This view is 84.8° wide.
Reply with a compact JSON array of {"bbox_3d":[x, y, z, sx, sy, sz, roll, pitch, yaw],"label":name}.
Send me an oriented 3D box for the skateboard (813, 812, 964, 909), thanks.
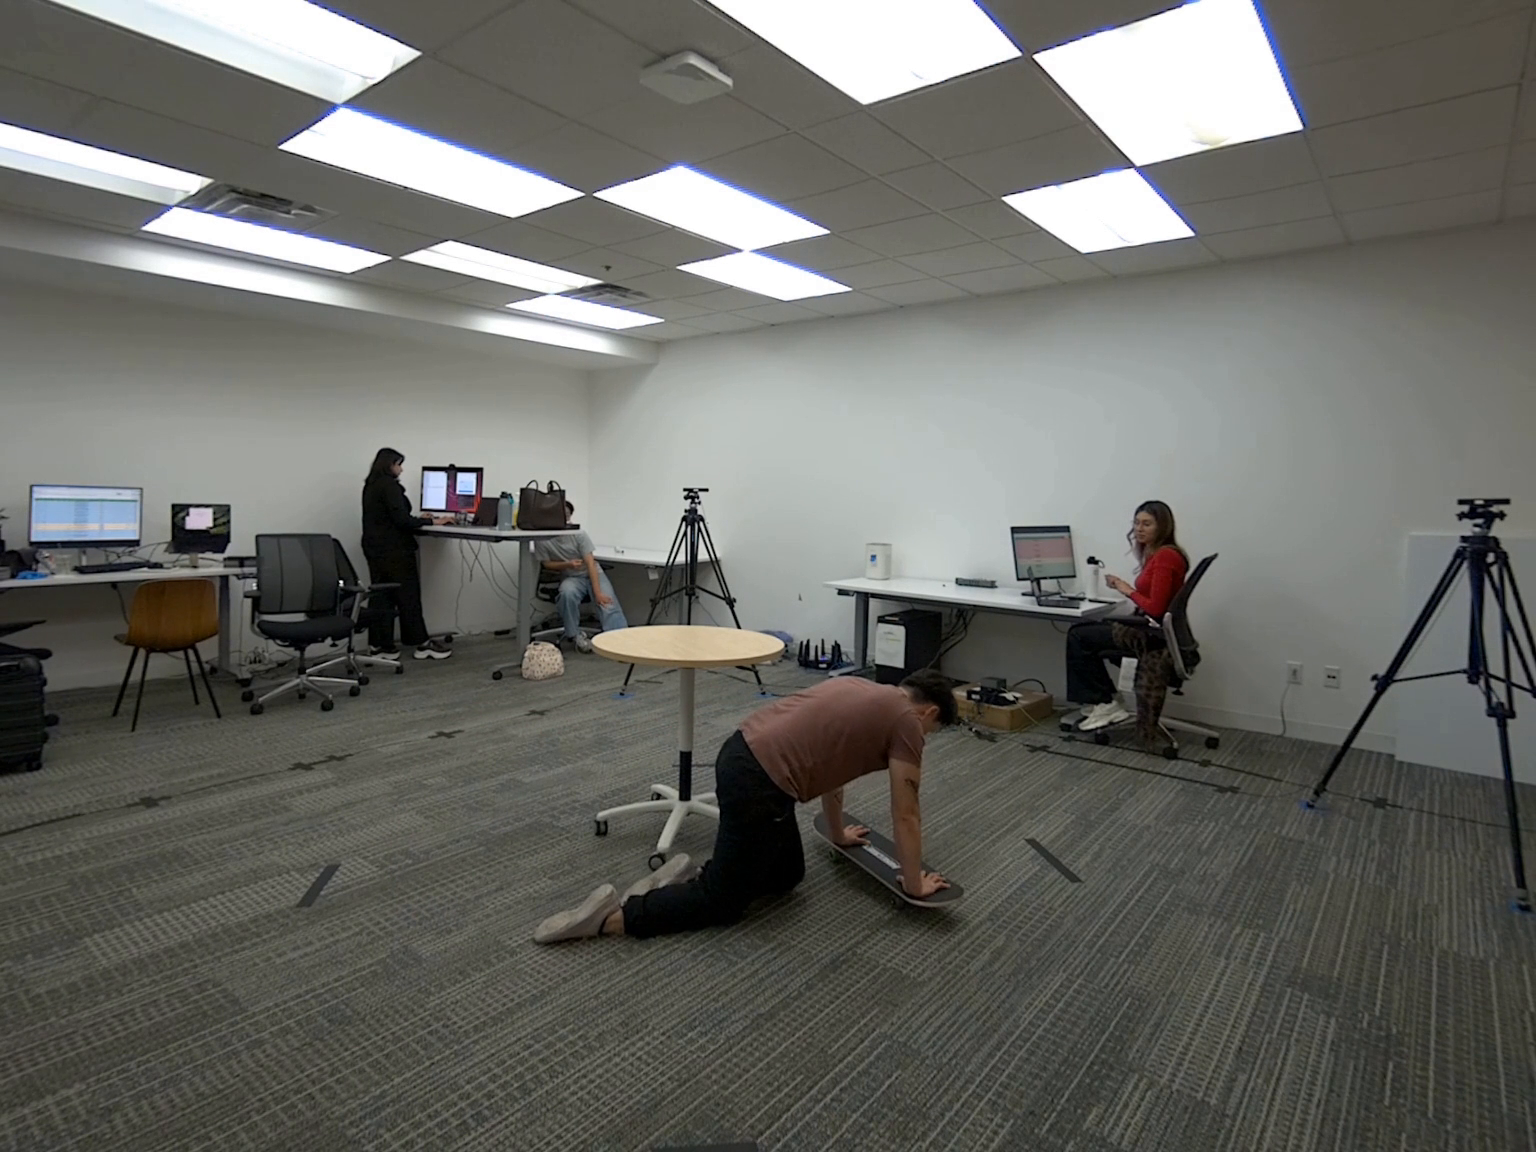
[{"bbox_3d":[0.400,1.035,3.056,0.189,0.109,0.808,-7,9,-26],"label":"skateboard"}]
